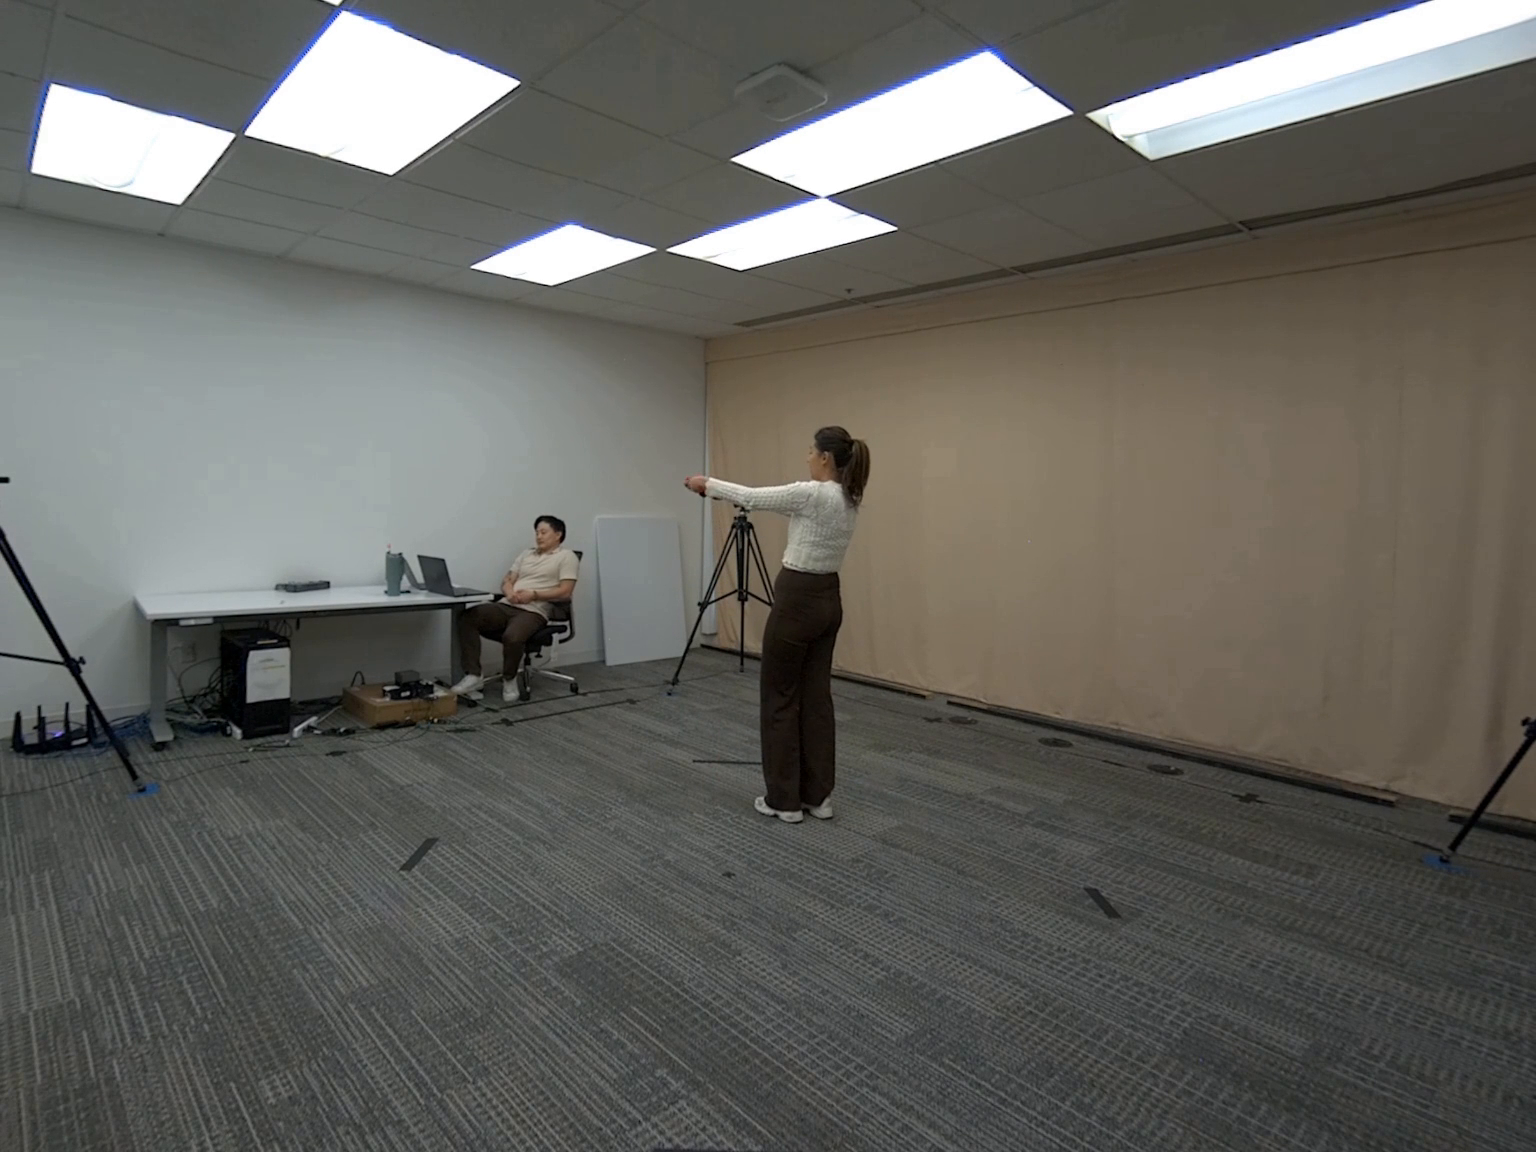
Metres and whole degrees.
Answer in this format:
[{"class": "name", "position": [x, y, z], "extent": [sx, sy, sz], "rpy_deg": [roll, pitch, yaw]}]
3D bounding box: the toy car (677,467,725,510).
[{"class": "toy car", "position": [-0.305, -0.415, 4.011], "extent": [0.133, 0.083, 0.248], "rpy_deg": [31, 1, 23]}]
